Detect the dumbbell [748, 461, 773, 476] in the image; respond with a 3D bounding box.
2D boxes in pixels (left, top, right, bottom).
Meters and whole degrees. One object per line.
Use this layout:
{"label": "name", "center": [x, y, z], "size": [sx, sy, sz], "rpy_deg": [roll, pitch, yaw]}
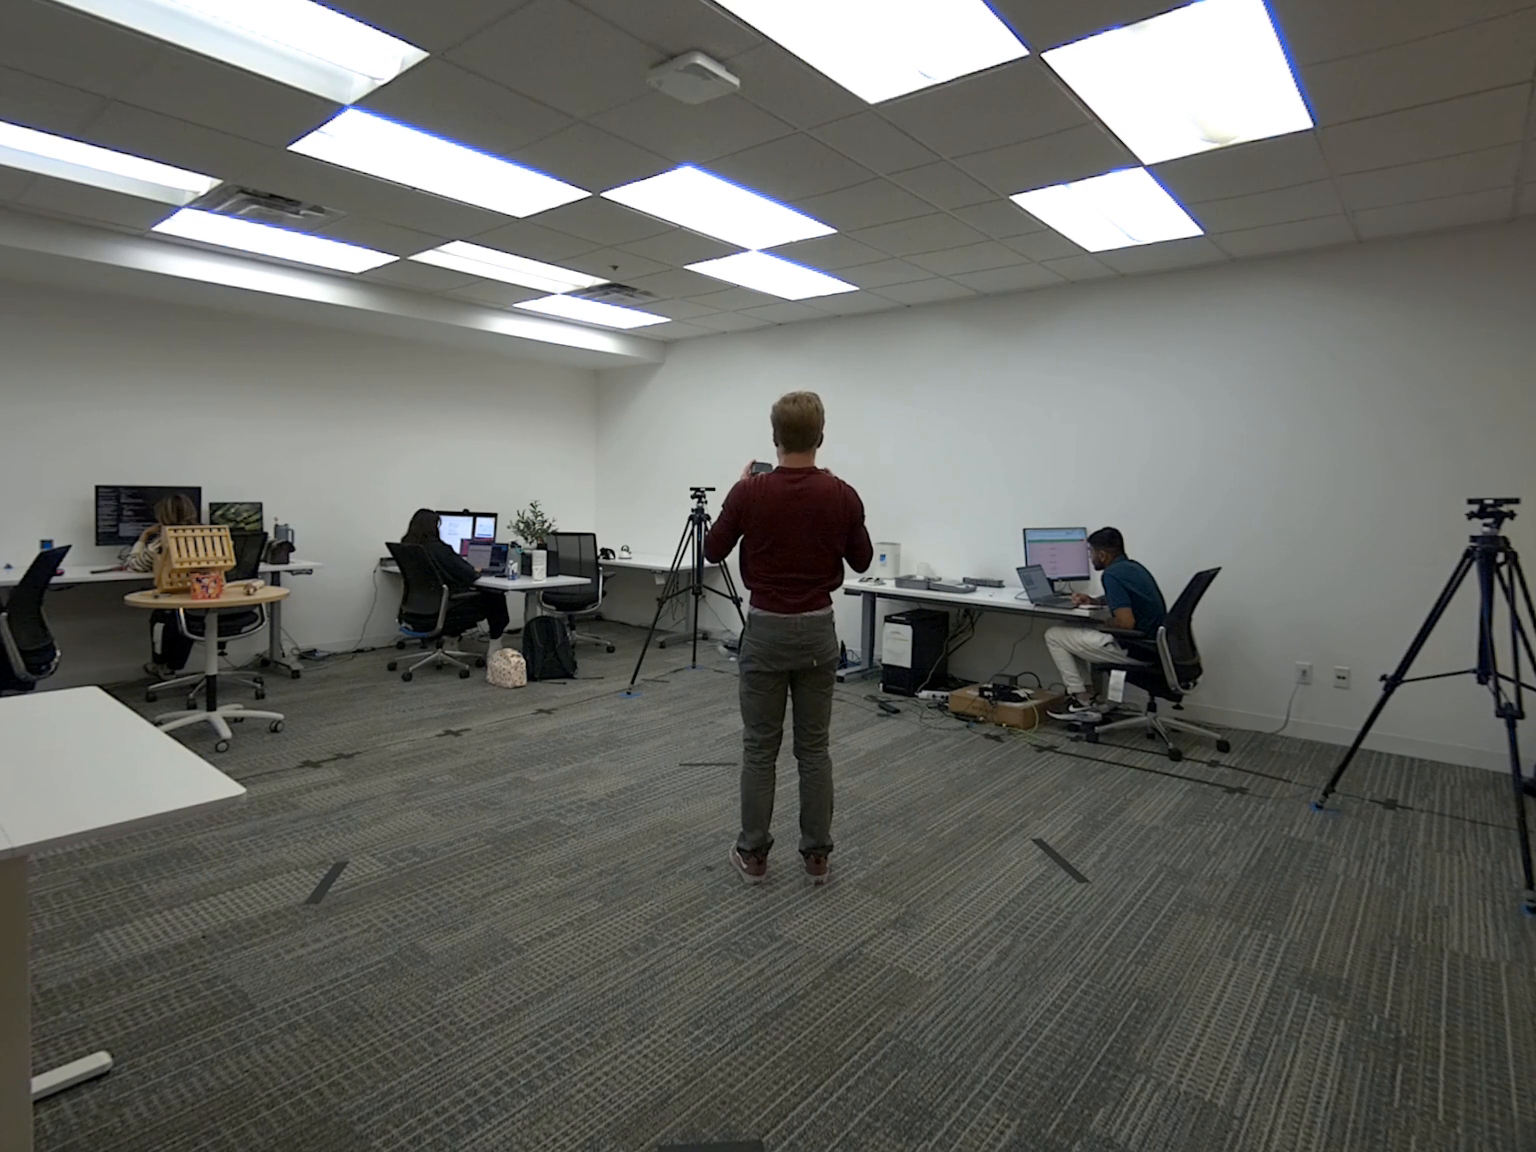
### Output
{"label": "dumbbell", "center": [0.070, -0.352, 3.220], "size": [0.294, 0.121, 0.110], "rpy_deg": [7, 15, 0]}
